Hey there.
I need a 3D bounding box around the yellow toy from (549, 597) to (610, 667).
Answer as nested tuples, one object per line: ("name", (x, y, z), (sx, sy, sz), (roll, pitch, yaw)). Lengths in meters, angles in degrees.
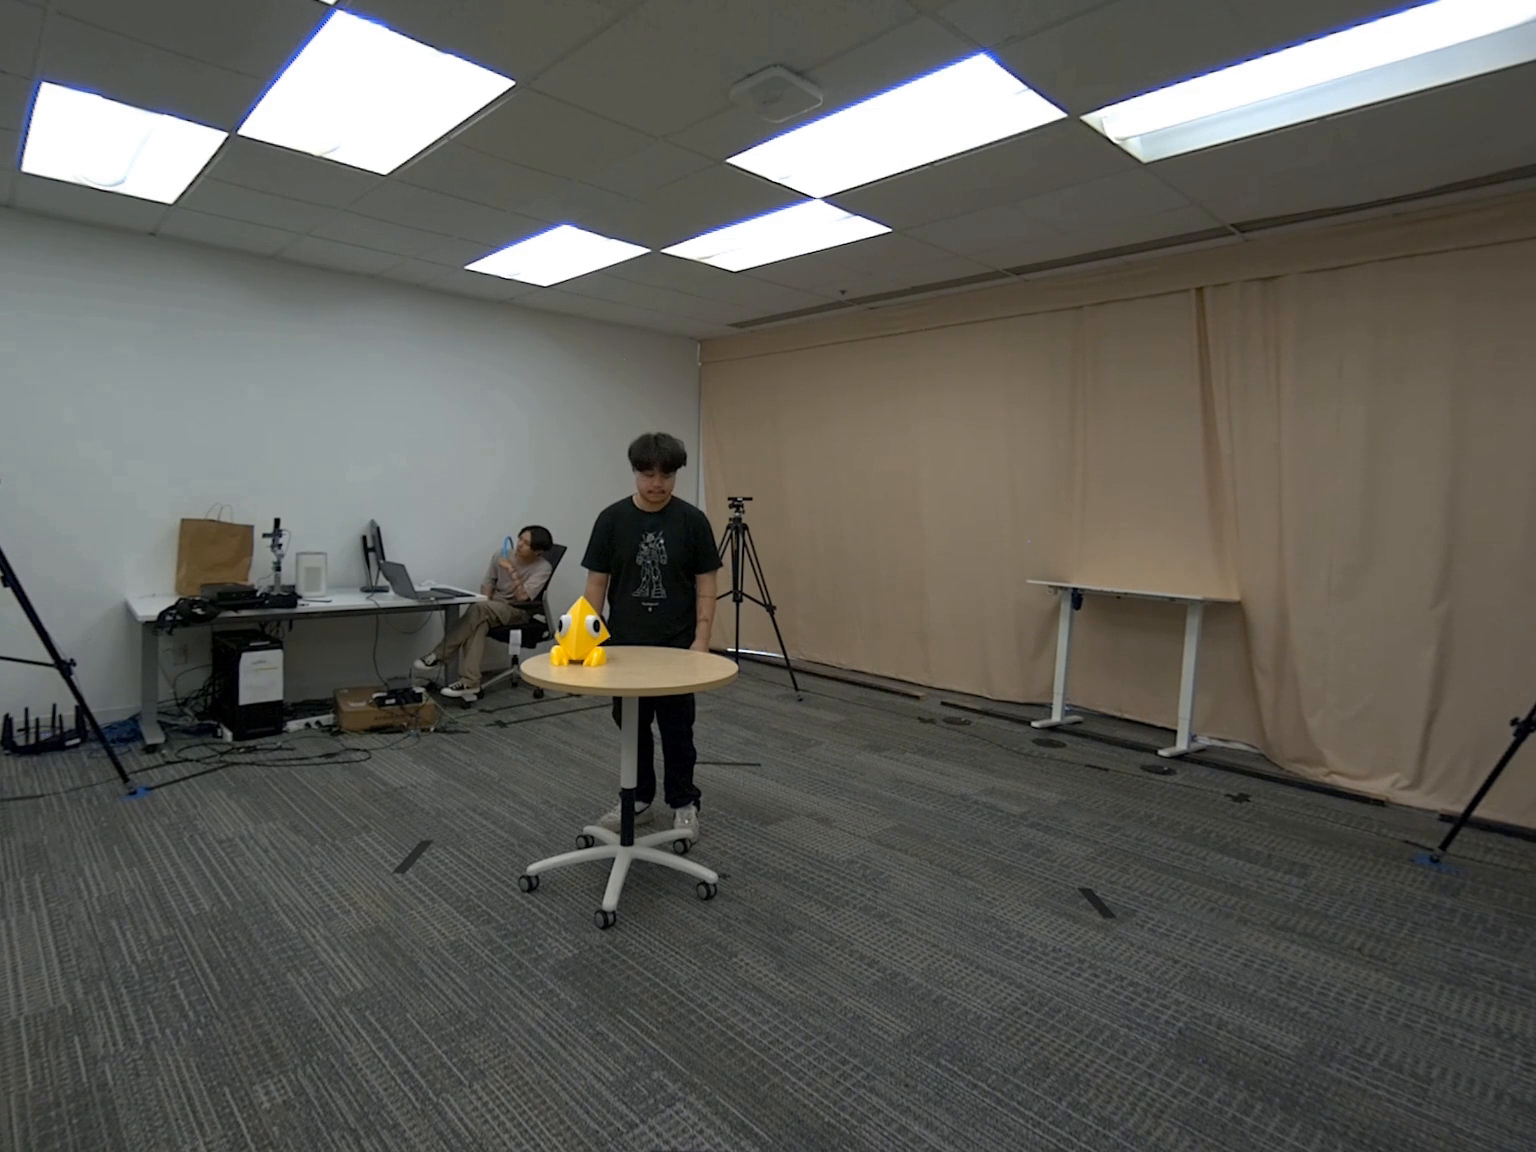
("yellow toy", (-0.695, 0.193, 3.025), (0.204, 0.230, 0.194), (2, 4, -2))
